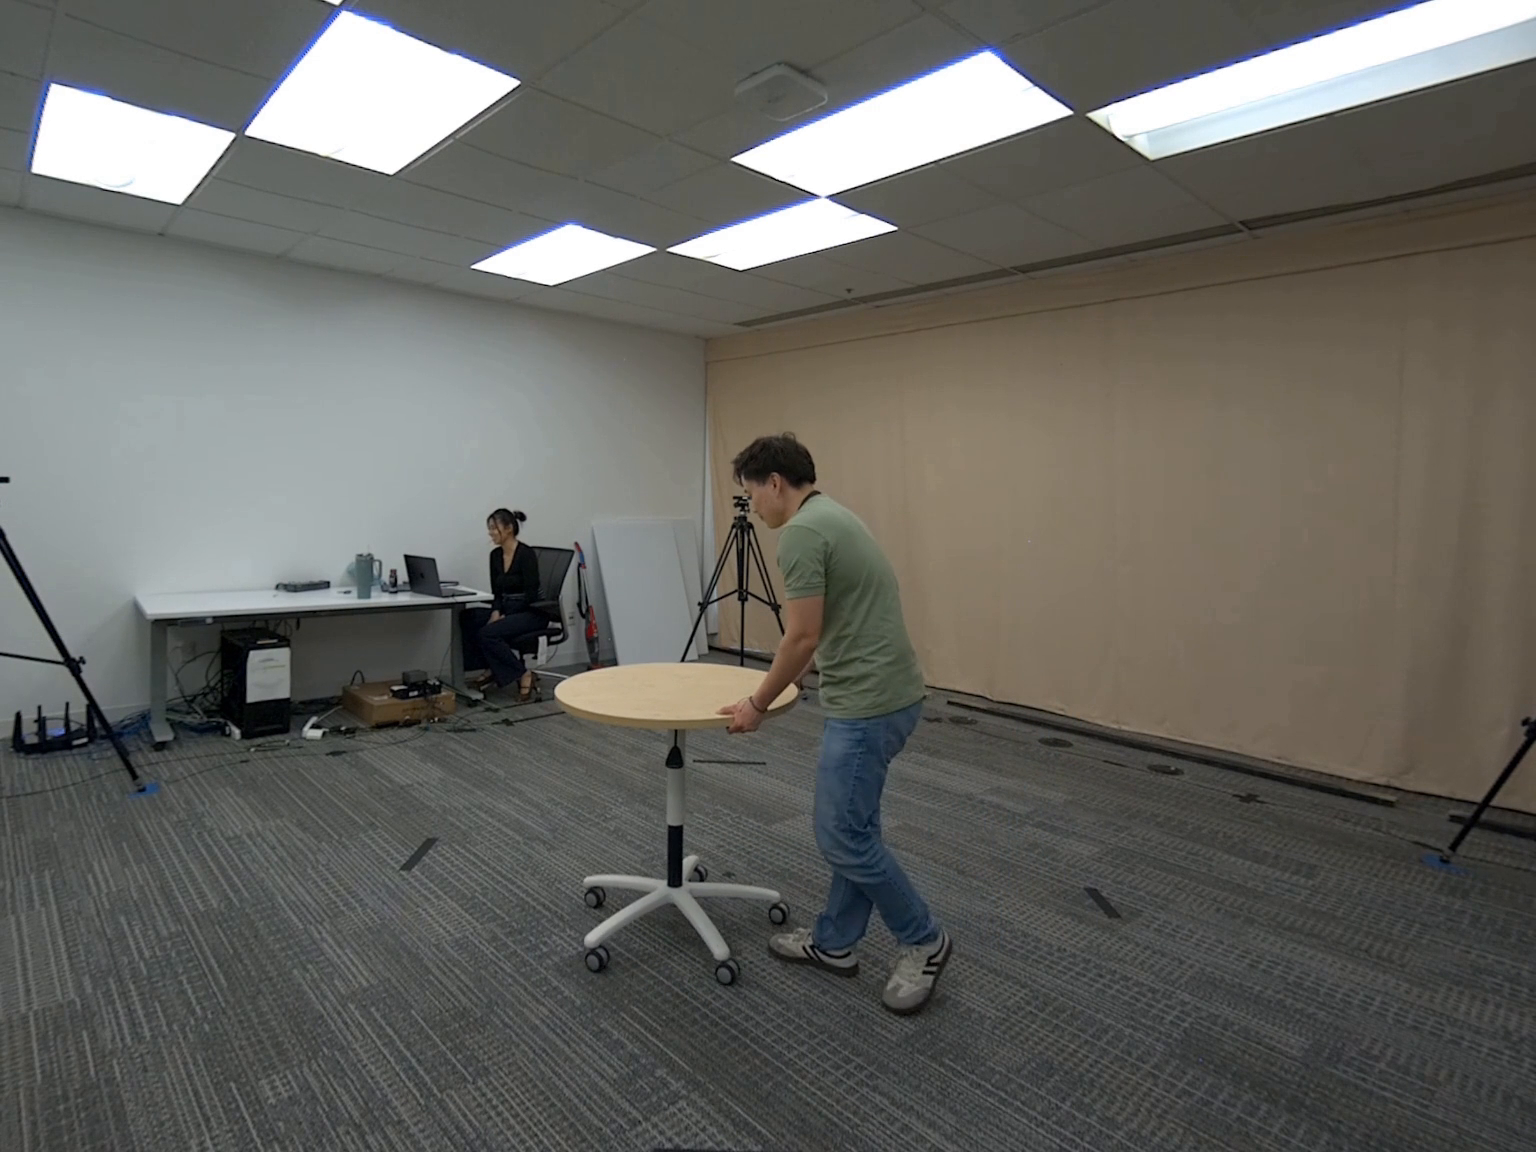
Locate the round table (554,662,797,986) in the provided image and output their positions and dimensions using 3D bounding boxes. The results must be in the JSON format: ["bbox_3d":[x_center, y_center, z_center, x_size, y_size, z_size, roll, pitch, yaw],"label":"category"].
[{"bbox_3d":[-0.293,0.747,2.696,0.763,0.791,0.767,1,4,-1],"label":"round table"}]
